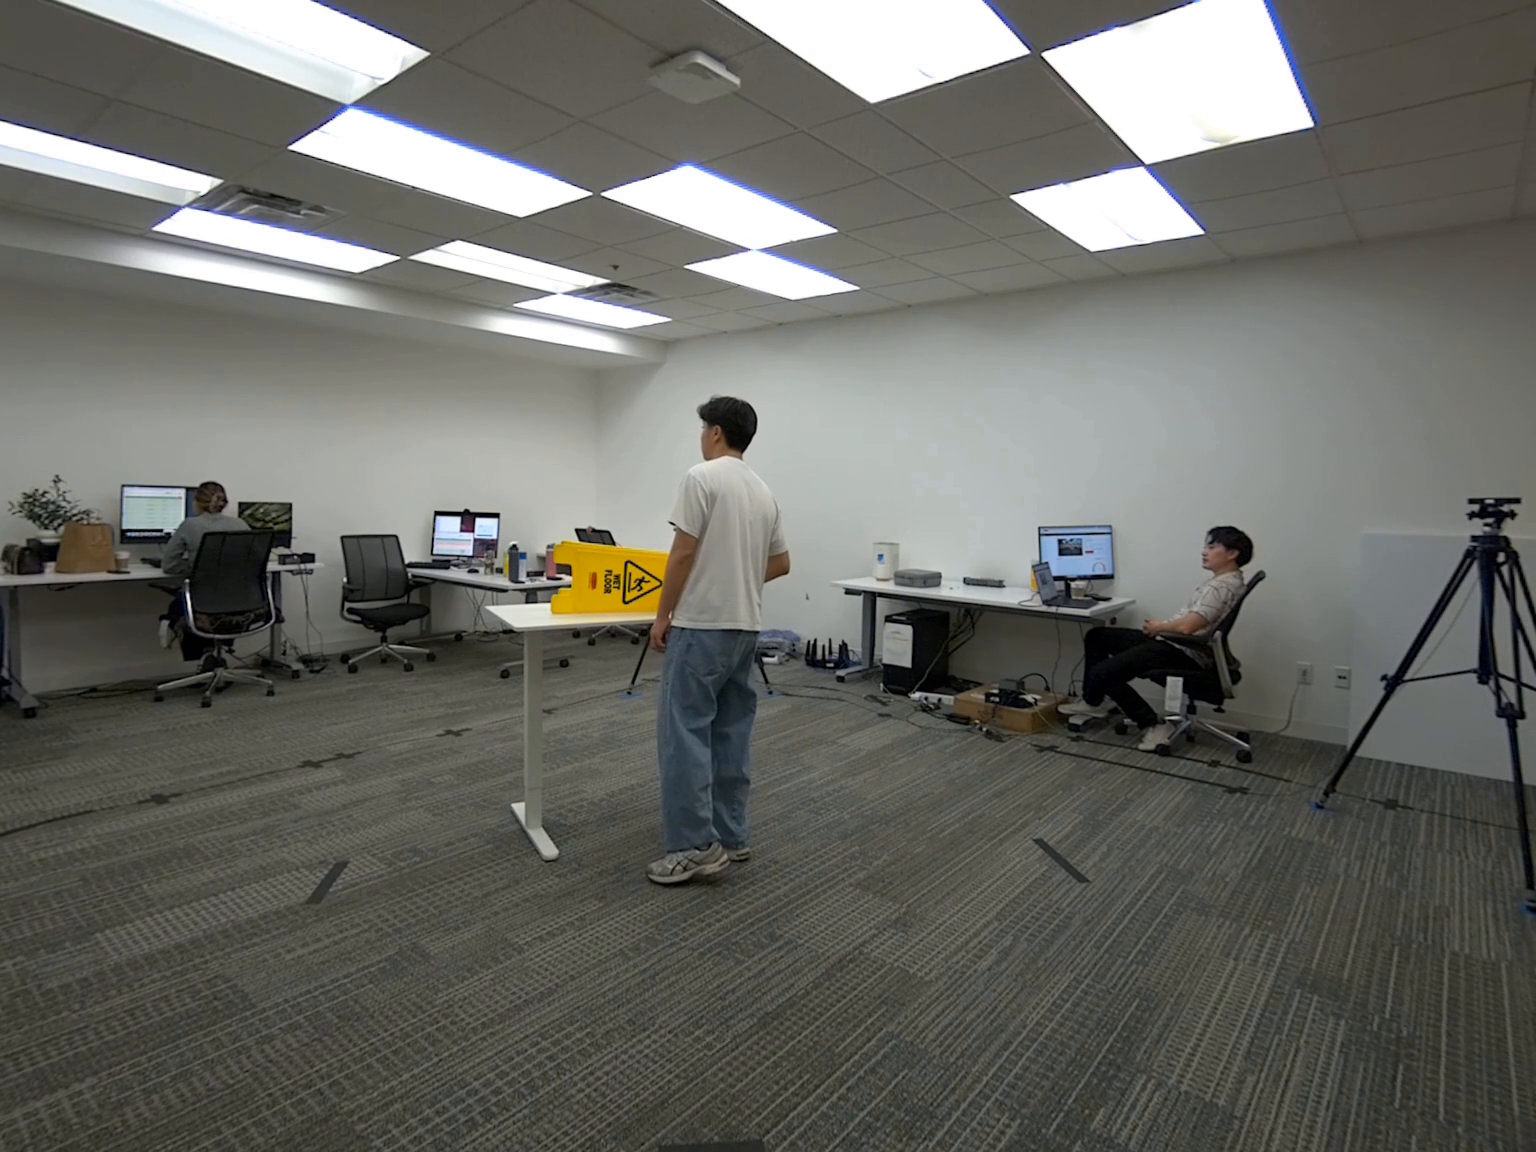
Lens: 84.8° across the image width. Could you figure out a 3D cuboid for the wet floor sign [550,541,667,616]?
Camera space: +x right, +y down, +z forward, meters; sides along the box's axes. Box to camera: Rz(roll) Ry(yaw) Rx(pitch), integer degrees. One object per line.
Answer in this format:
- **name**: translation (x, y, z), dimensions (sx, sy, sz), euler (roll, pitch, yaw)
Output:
- **wet floor sign**: translation (-0.562, 0.013, 3.500), dimensions (0.643, 0.281, 0.292), euler (3, 3, -4)
